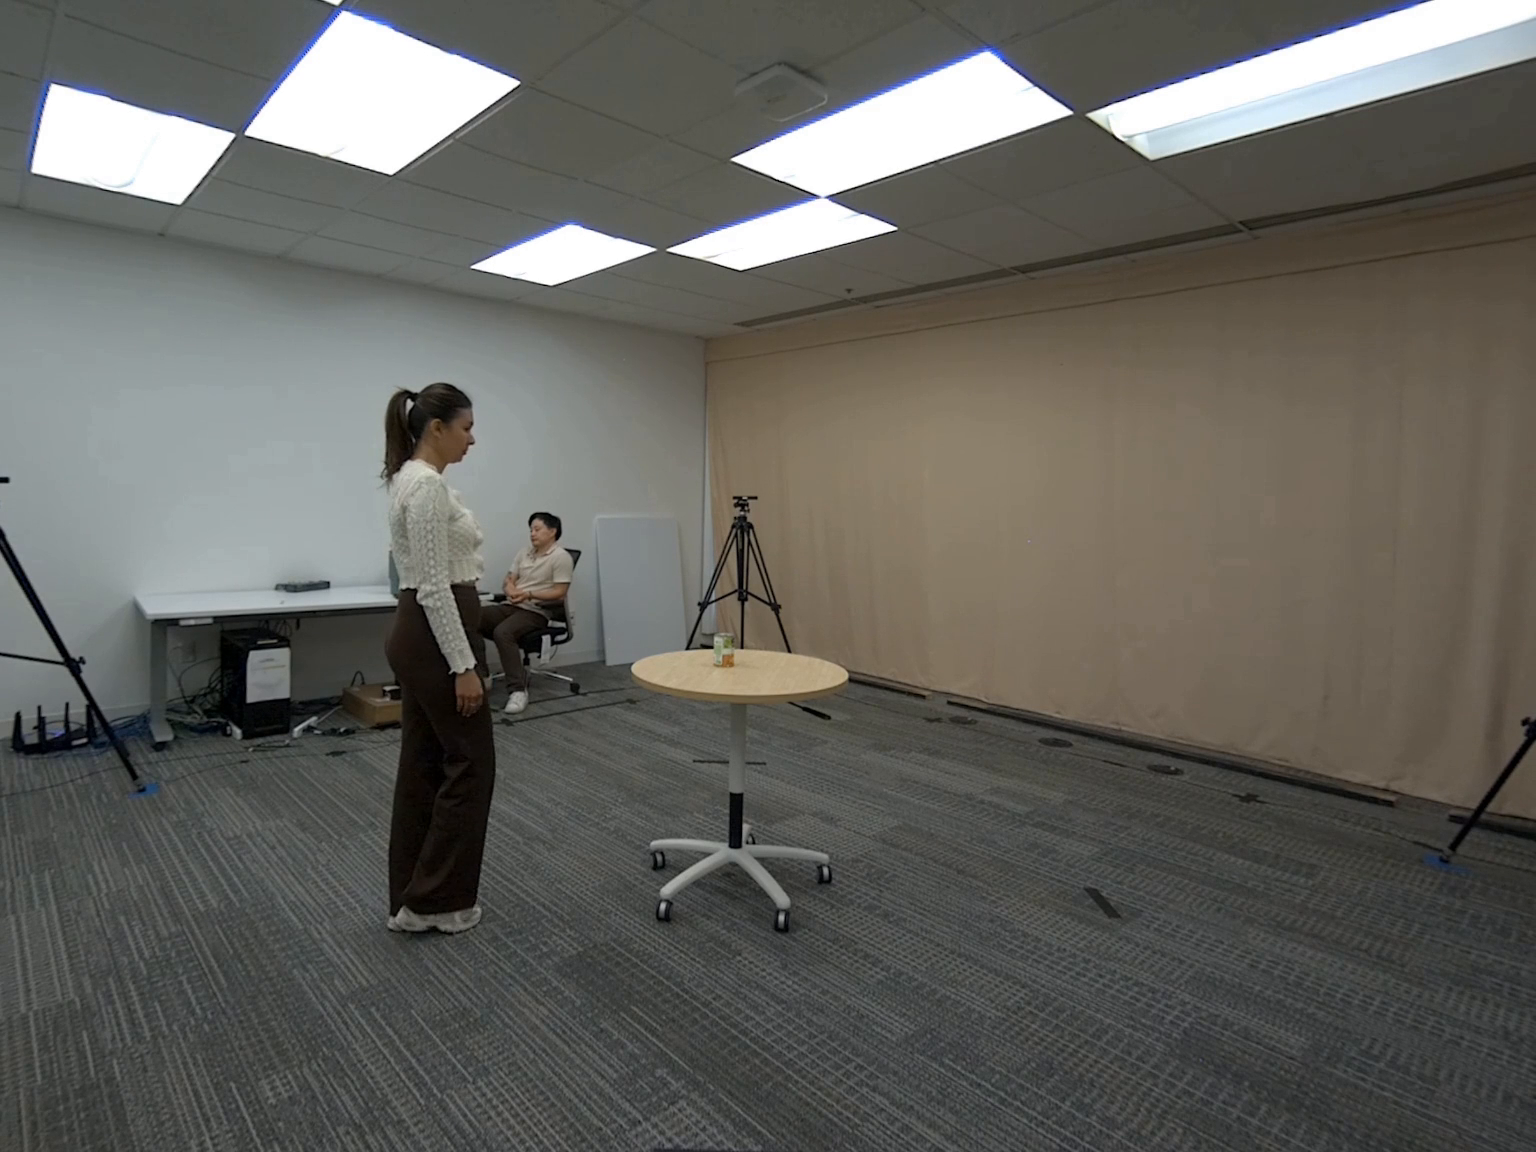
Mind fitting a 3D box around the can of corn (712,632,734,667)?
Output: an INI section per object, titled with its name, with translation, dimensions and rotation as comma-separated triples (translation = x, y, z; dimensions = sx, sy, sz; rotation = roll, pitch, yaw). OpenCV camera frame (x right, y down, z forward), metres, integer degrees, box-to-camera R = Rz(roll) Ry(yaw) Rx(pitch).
[can of corn]
translation = -0.166, 0.270, 3.035
dimensions = 0.074, 0.111, 0.074
rotation = 0, 2, -1
